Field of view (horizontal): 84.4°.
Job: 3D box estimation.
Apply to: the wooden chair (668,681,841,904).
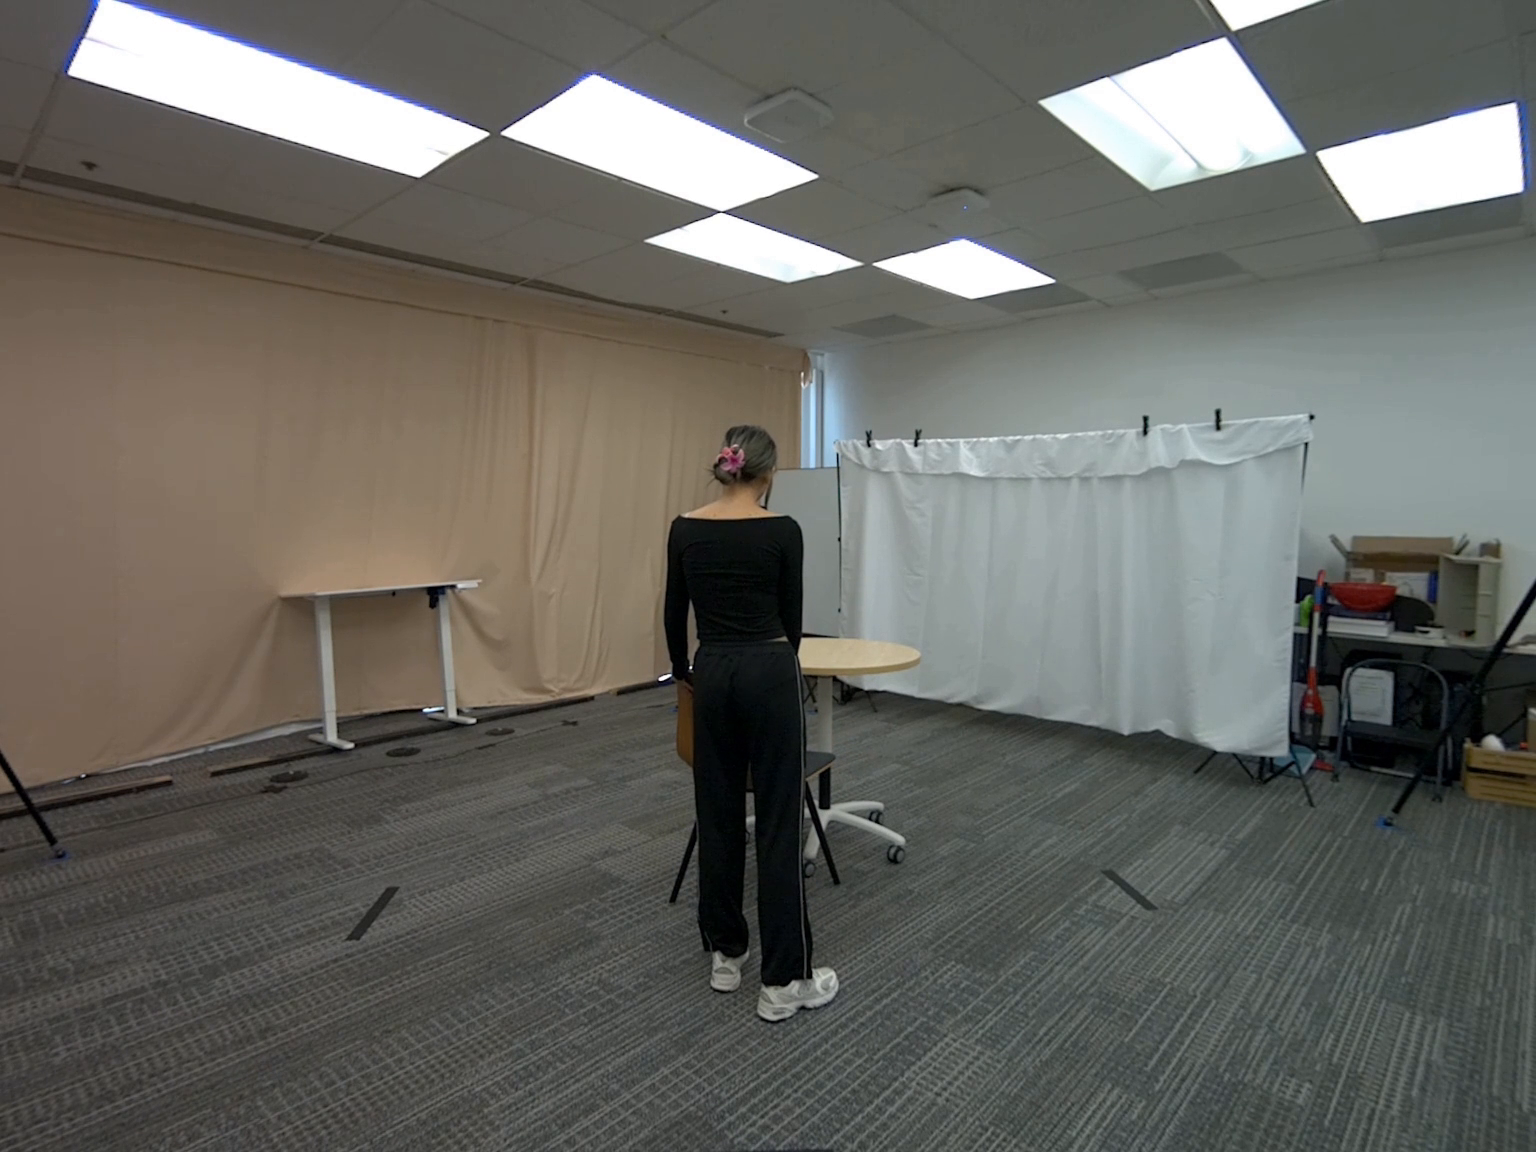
[{"bbox_3d":[-0.037,0.713,3.000,0.492,0.873,0.510,2,8,32],"label":"wooden chair"}]
